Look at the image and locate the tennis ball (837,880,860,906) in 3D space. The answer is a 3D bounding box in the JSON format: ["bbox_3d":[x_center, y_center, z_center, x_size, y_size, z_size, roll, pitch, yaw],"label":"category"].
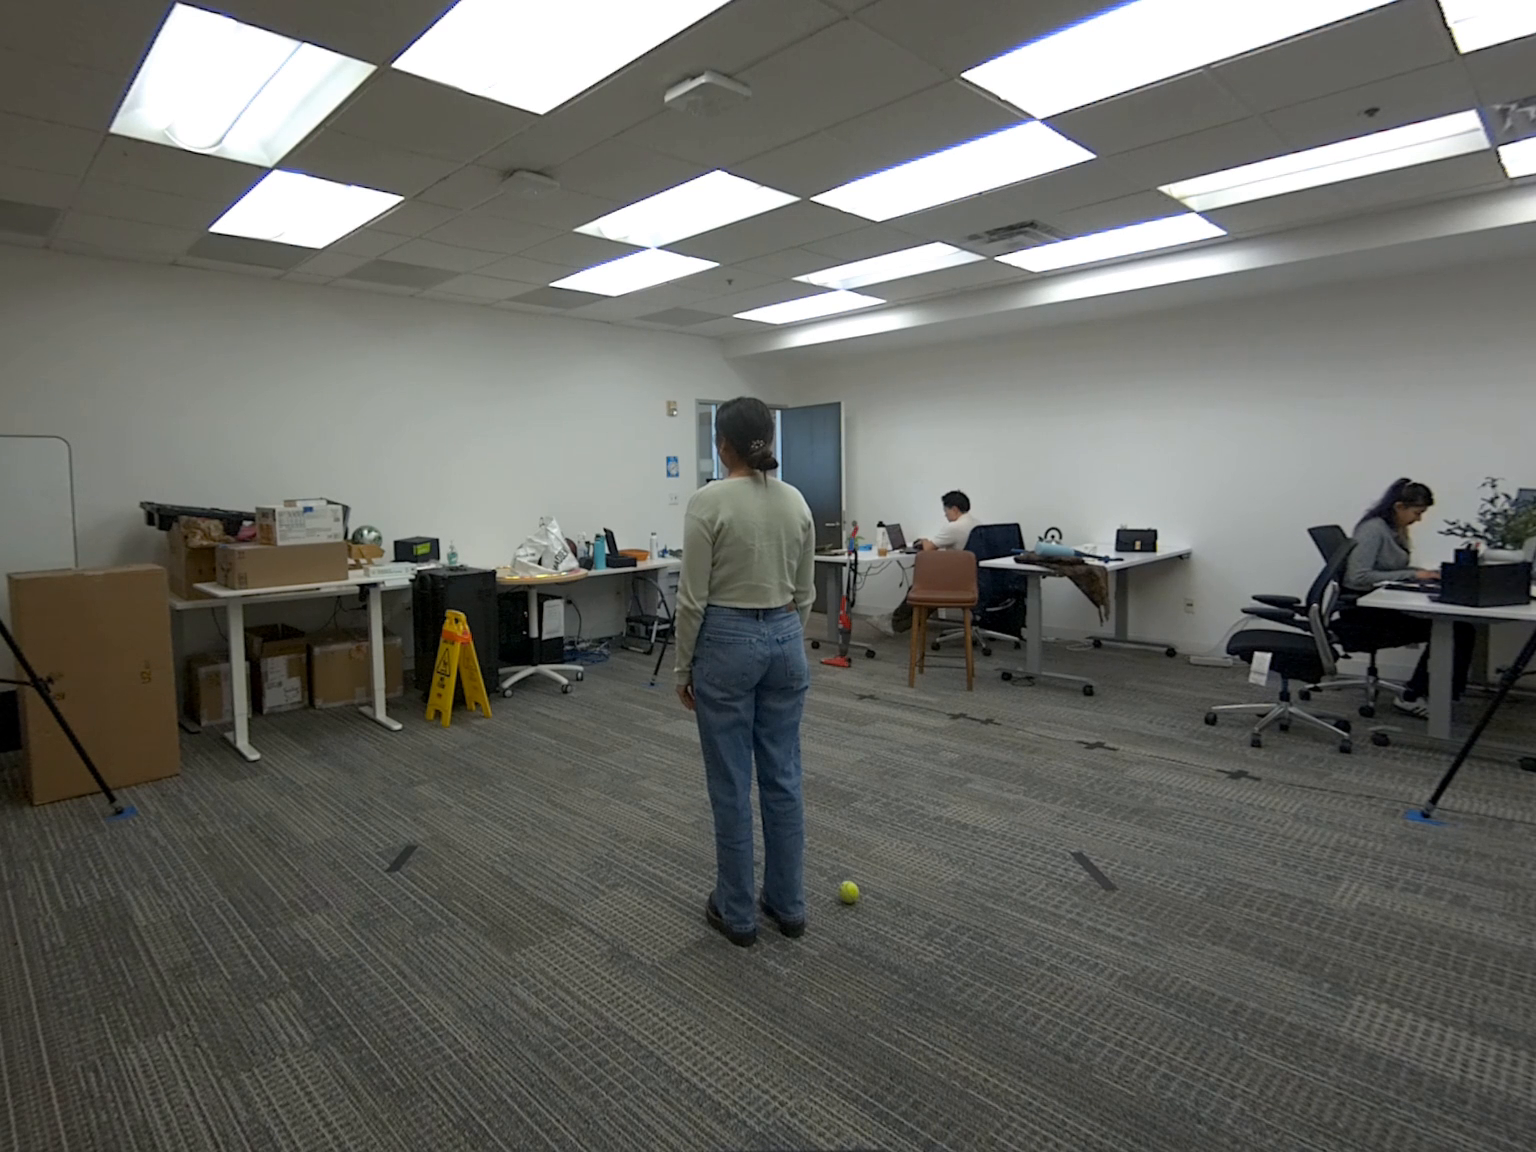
[{"bbox_3d":[0.280,1.028,2.807,0.066,0.066,0.067,-1,5,-2],"label":"tennis ball"}]
